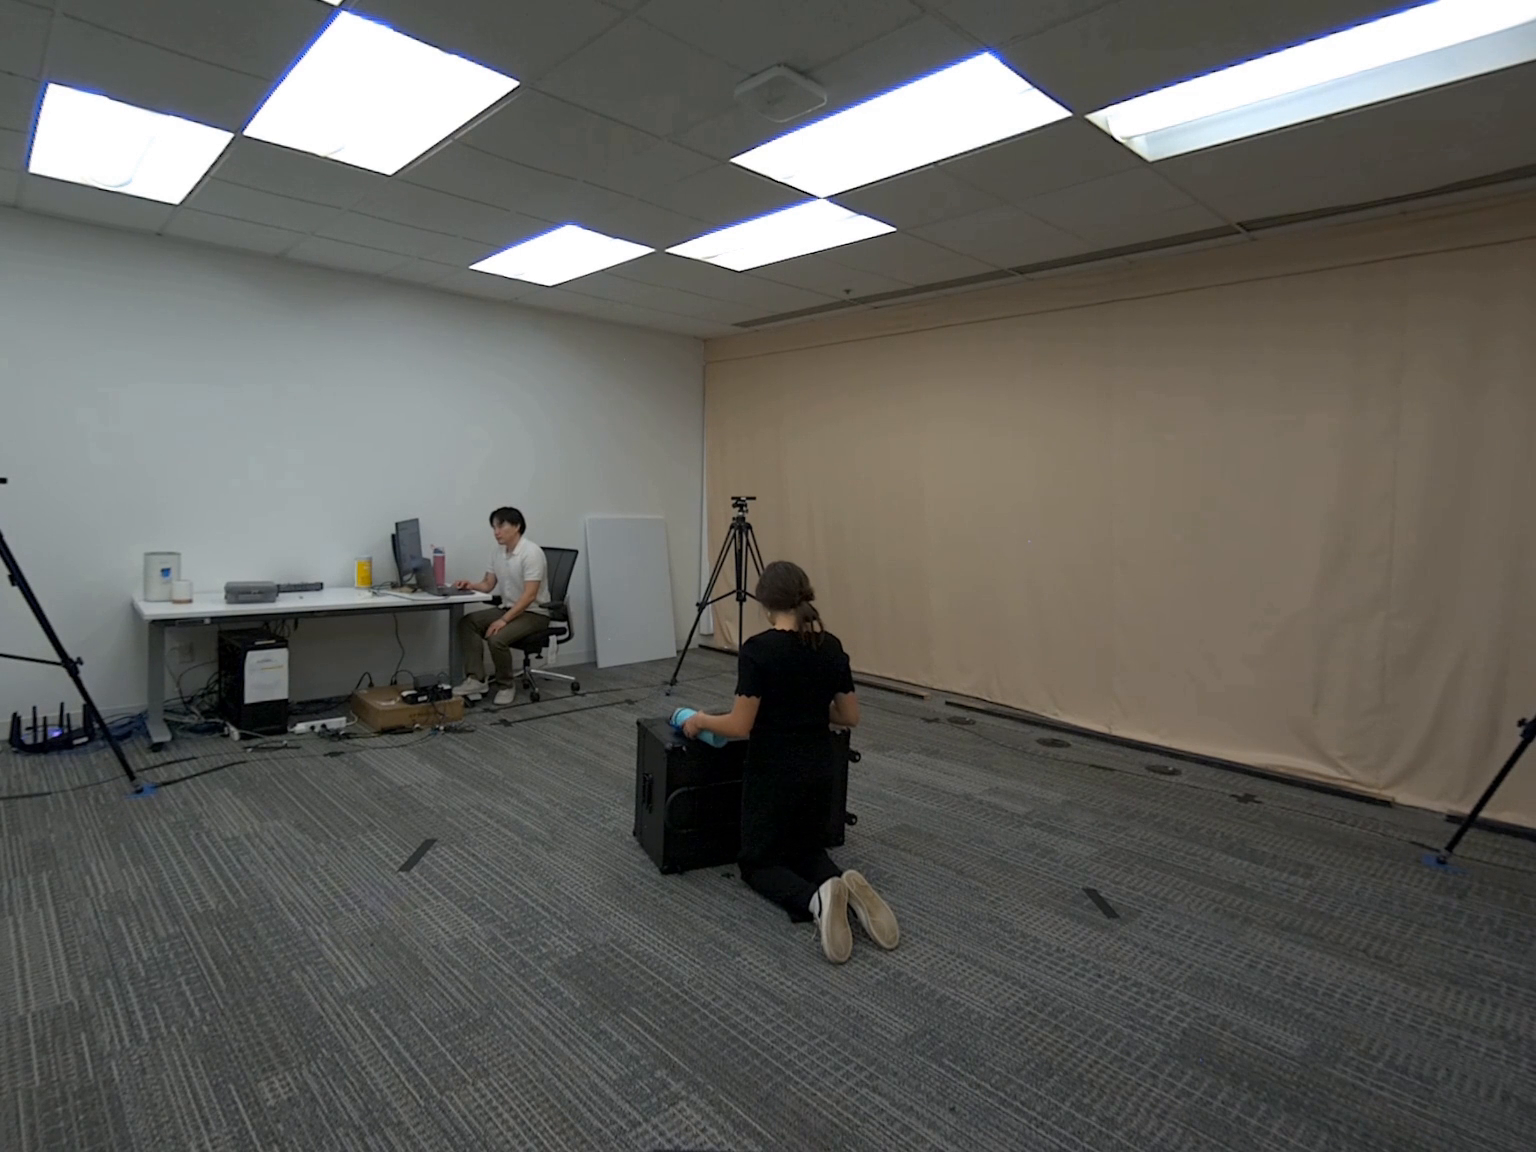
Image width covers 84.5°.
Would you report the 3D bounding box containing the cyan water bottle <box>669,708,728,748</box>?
[{"bbox_3d":[-0.261,0.564,3.176,0.090,0.092,0.291,-2,11,-41],"label":"cyan water bottle"}]
